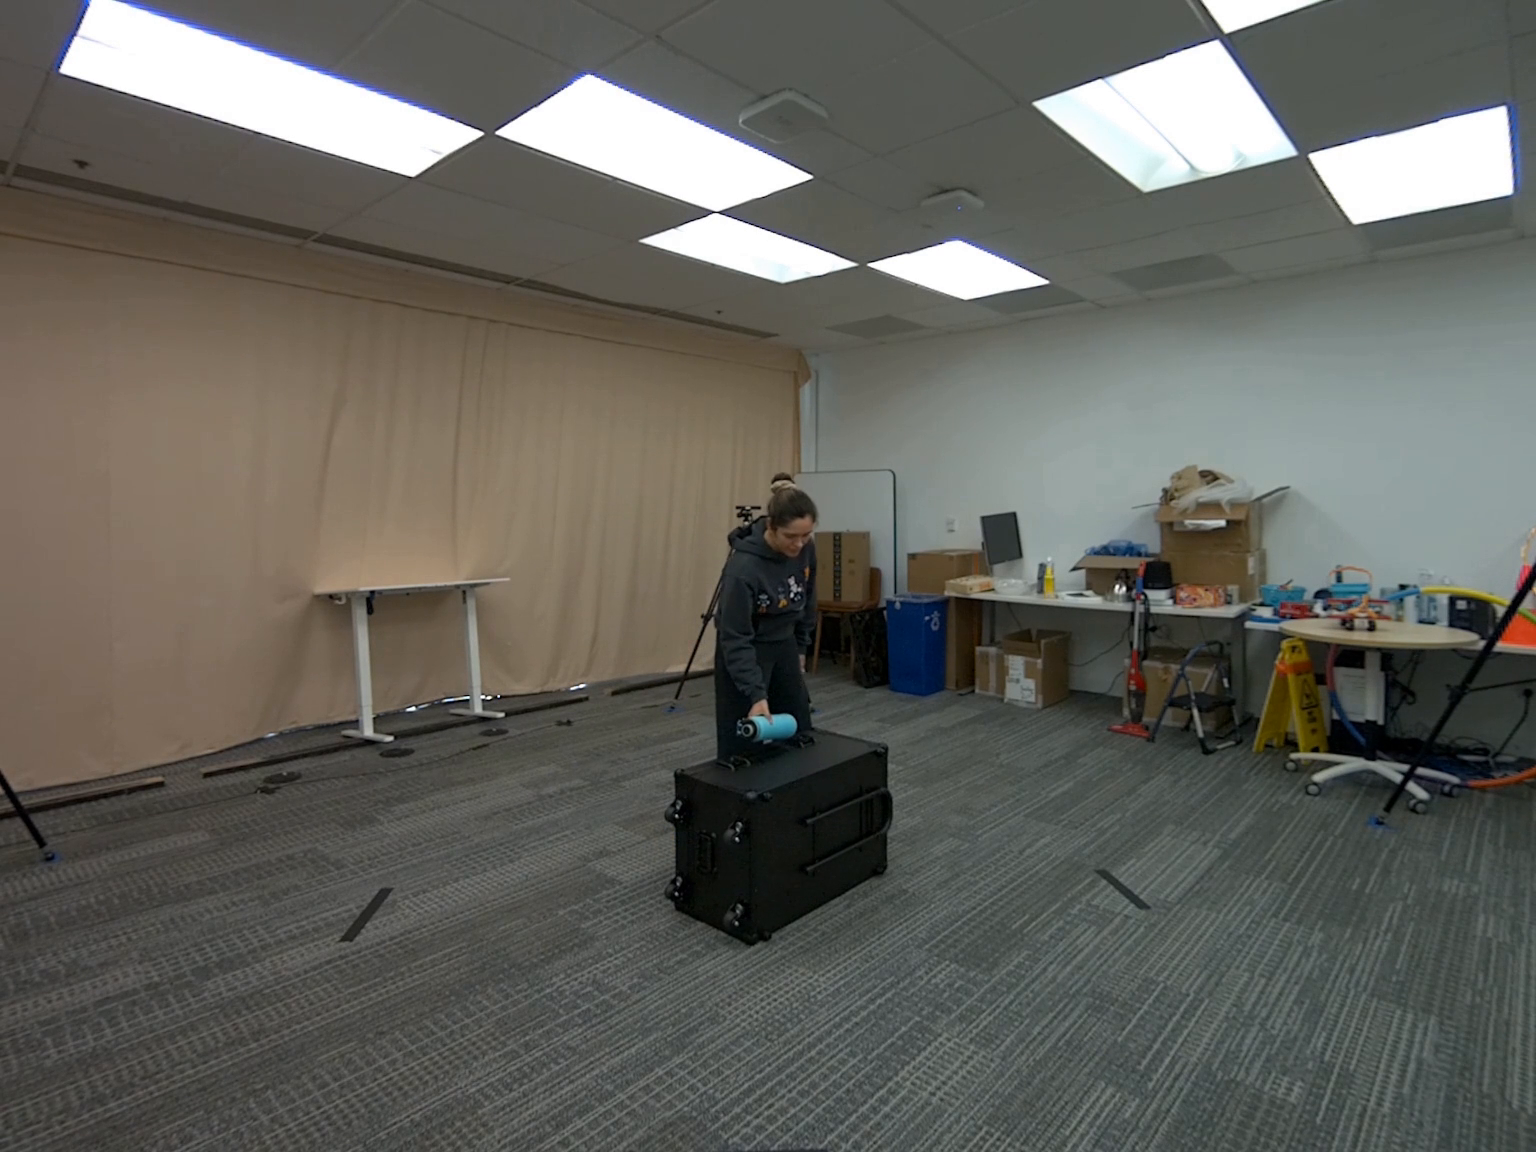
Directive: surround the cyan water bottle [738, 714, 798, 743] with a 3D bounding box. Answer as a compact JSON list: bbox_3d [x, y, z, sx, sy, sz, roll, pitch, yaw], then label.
[{"bbox_3d":[0.008,0.550,3.090,0.095,0.092,0.274,3,-3,38],"label":"cyan water bottle"}]
